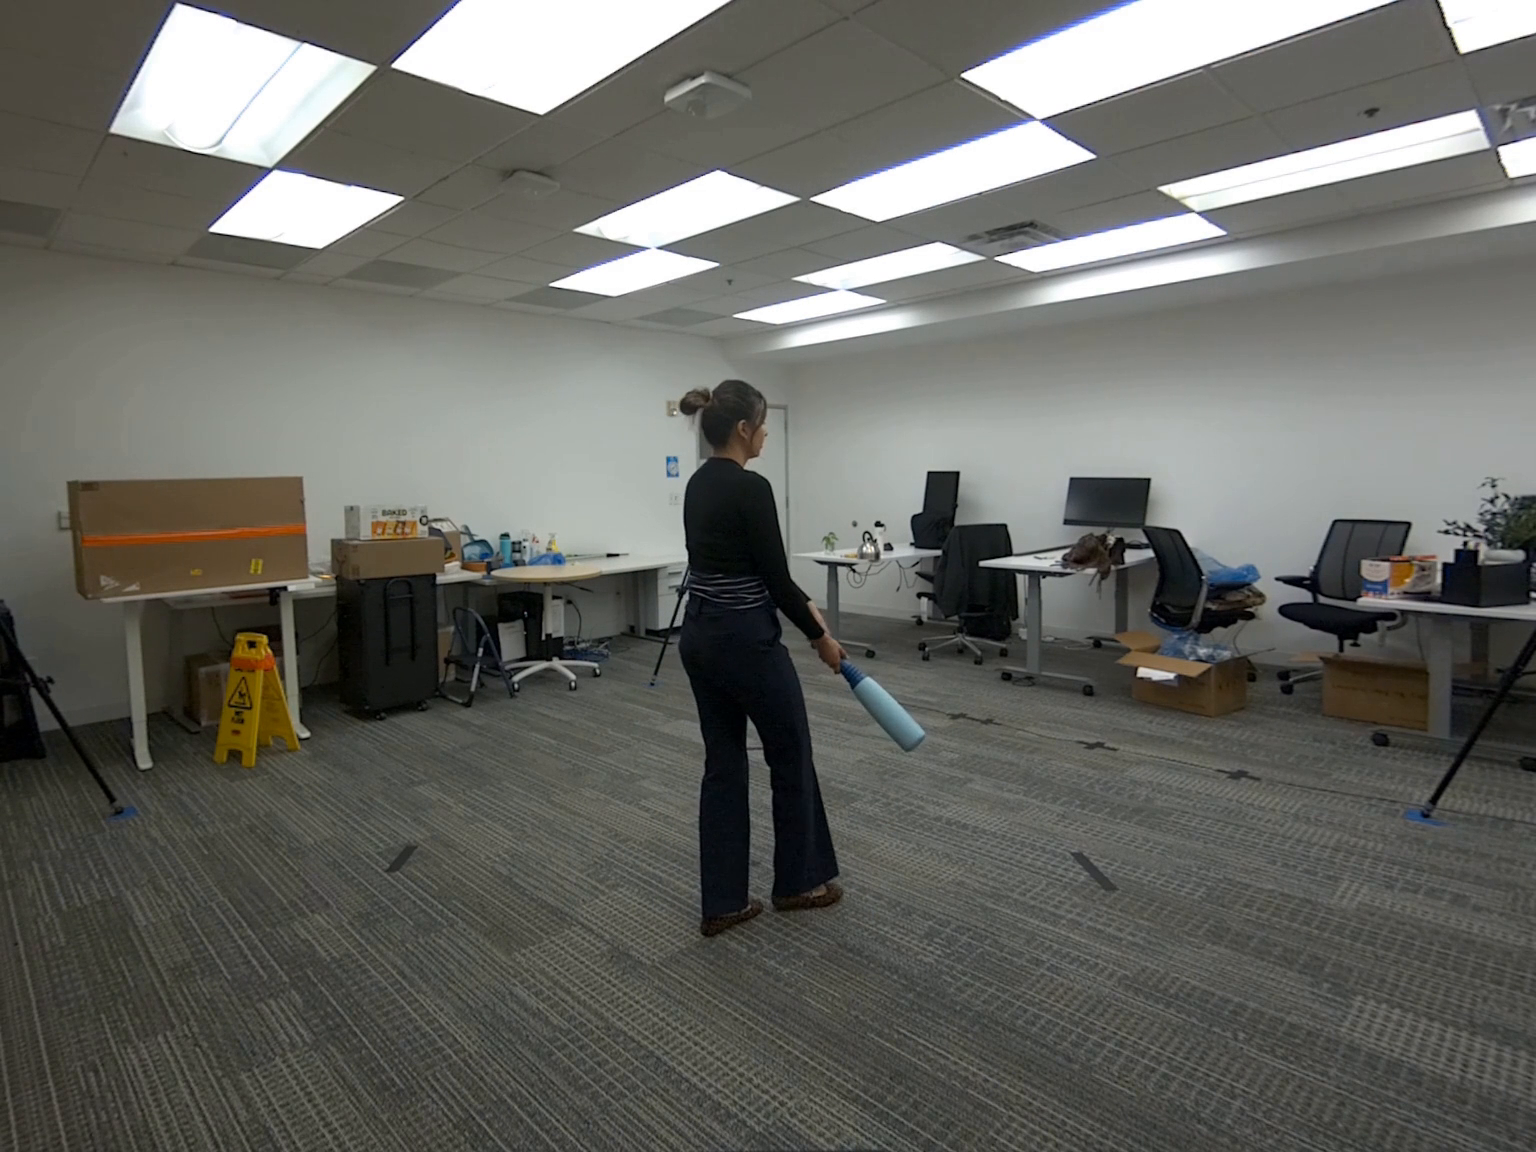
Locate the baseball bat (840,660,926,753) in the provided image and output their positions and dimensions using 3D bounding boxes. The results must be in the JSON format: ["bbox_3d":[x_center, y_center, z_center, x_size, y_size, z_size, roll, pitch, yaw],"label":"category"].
[{"bbox_3d":[0.285,0.316,2.699,0.559,0.088,0.087,47,28,24],"label":"baseball bat"}]
